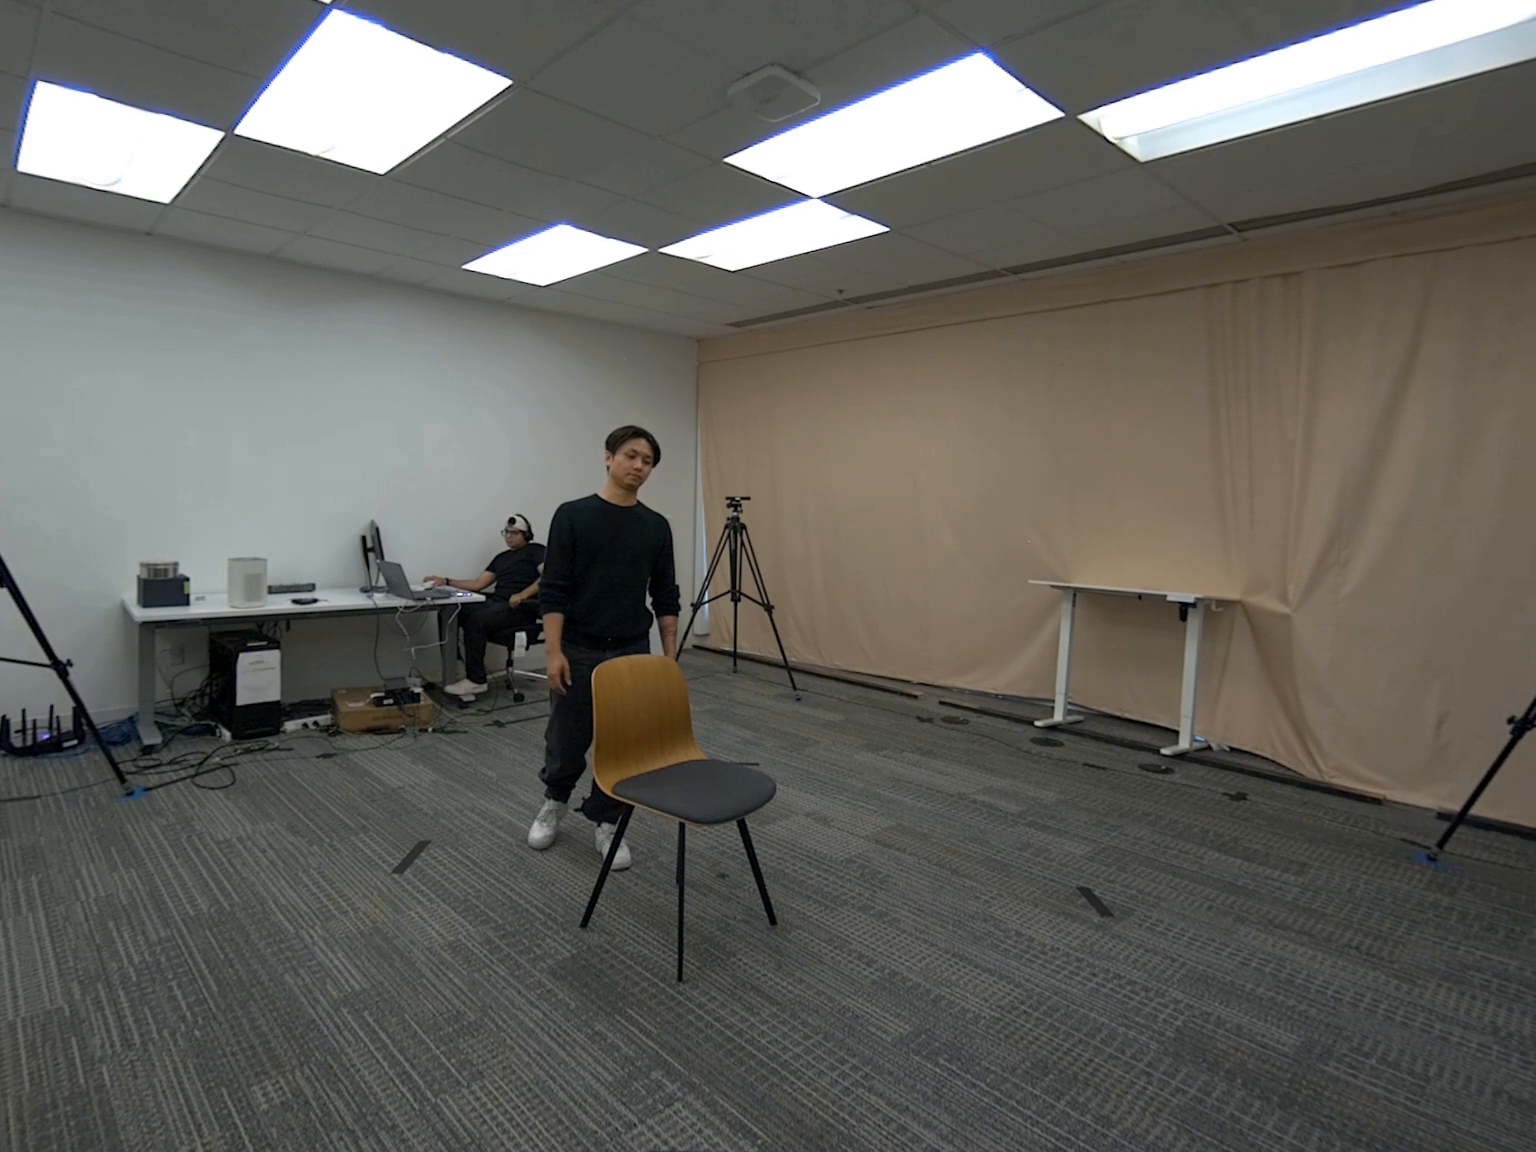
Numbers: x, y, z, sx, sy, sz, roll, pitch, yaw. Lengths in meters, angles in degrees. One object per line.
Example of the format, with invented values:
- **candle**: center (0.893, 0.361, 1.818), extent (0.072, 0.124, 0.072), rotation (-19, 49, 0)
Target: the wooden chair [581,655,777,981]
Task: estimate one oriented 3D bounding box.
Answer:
- **wooden chair**: center (-0.275, 0.713, 2.693), extent (0.535, 0.877, 0.467), rotation (-2, 0, 40)
